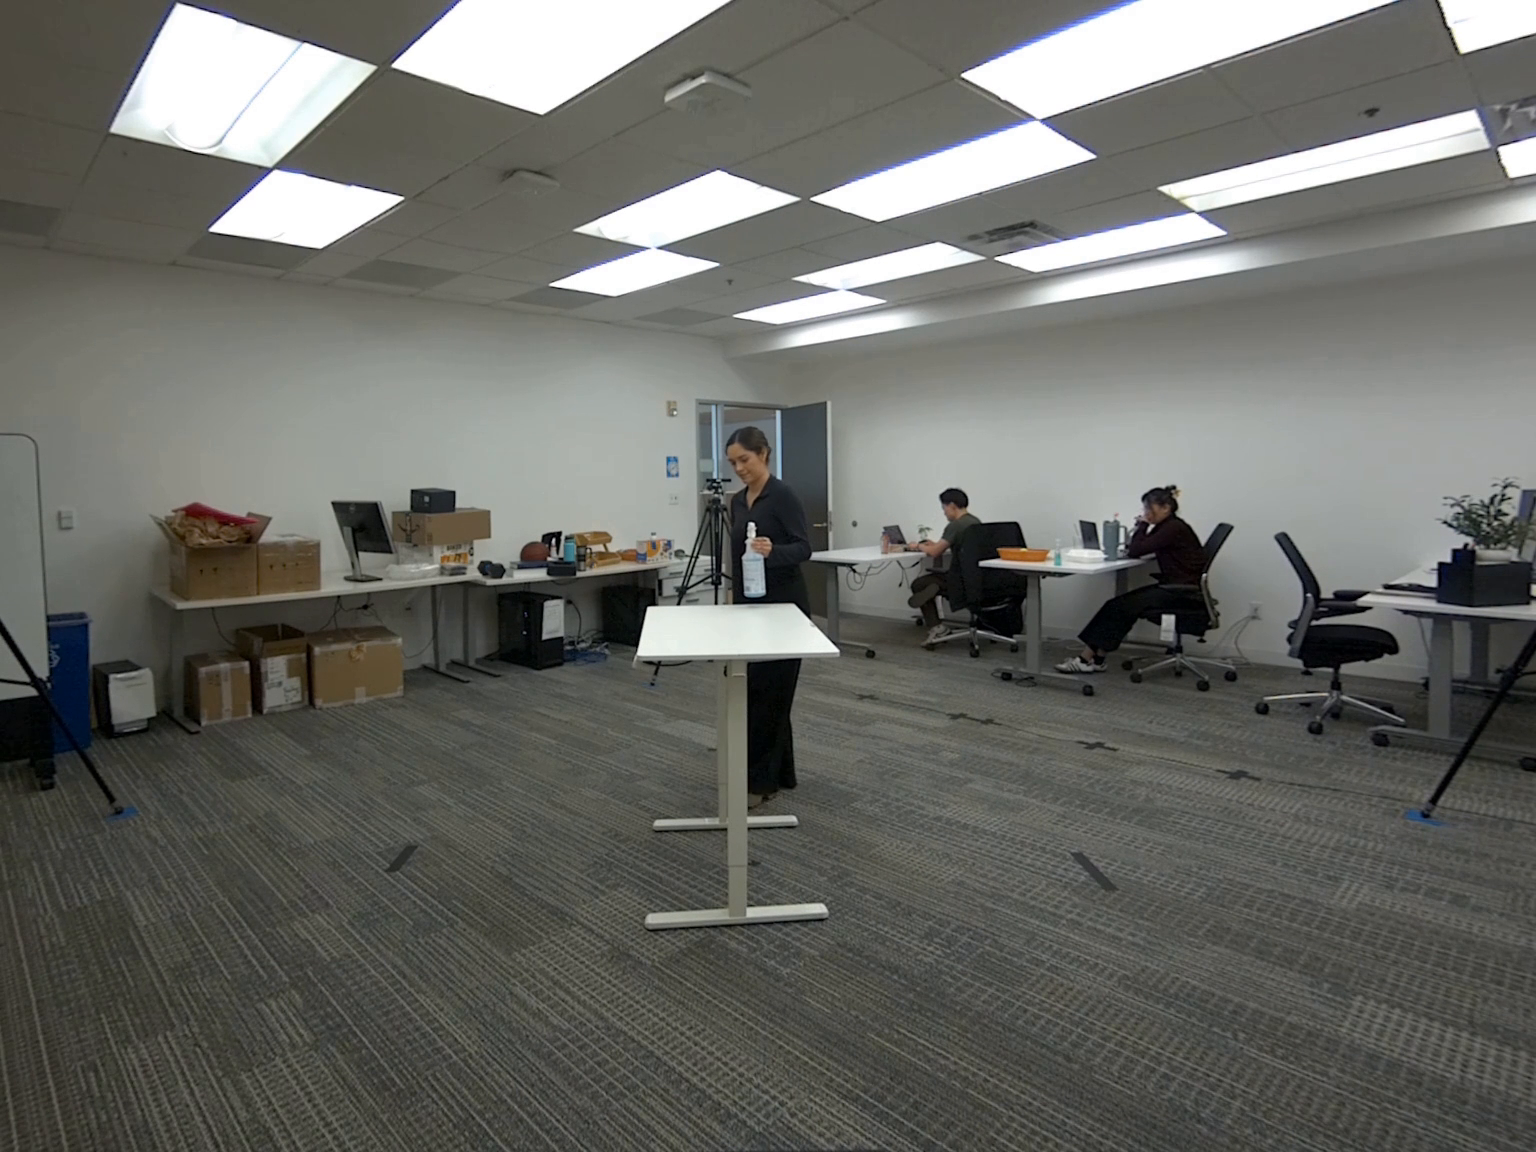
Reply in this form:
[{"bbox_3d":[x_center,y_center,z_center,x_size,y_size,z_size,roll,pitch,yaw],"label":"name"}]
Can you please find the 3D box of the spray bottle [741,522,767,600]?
[{"bbox_3d":[-0.065,-0.064,3.417,0.089,0.295,0.089,2,10,19],"label":"spray bottle"}]
